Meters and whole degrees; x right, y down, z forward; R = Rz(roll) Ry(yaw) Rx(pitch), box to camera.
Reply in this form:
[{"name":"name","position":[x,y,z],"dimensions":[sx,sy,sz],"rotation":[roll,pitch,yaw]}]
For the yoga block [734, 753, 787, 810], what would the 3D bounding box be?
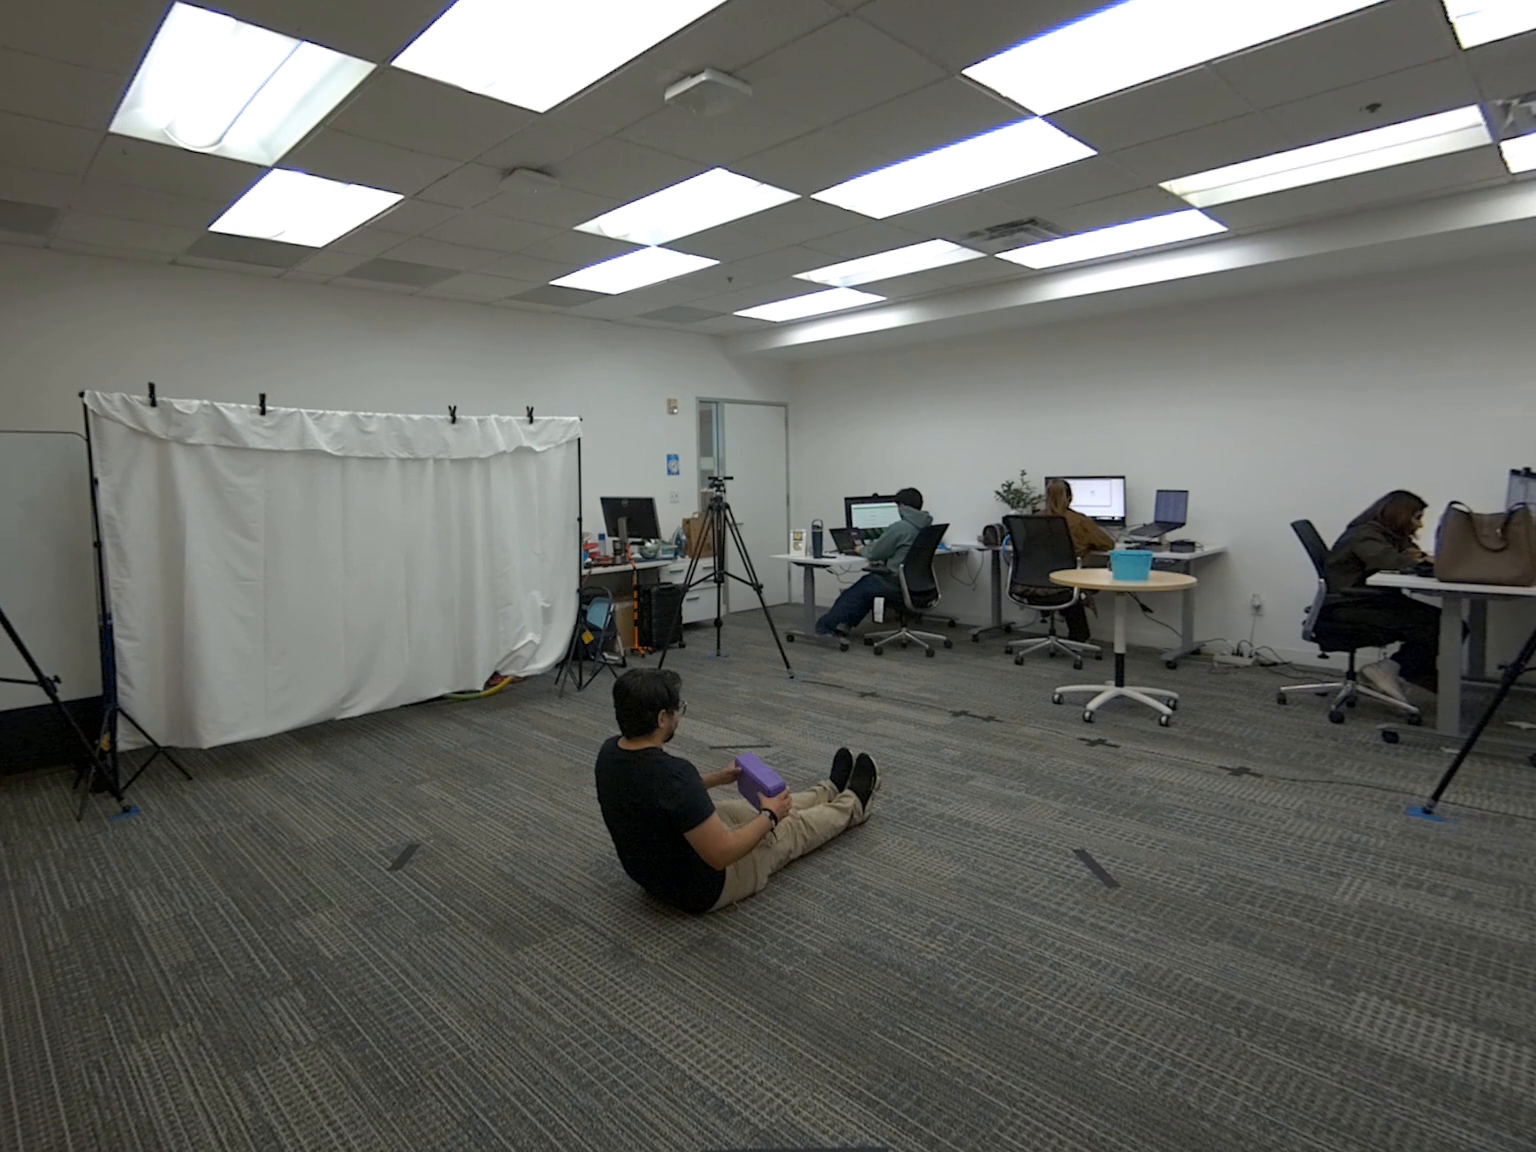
[{"name":"yoga block","position":[-0.024,0.731,2.946],"dimensions":[0.075,0.146,0.237],"rotation":[-14,21,-27]}]
